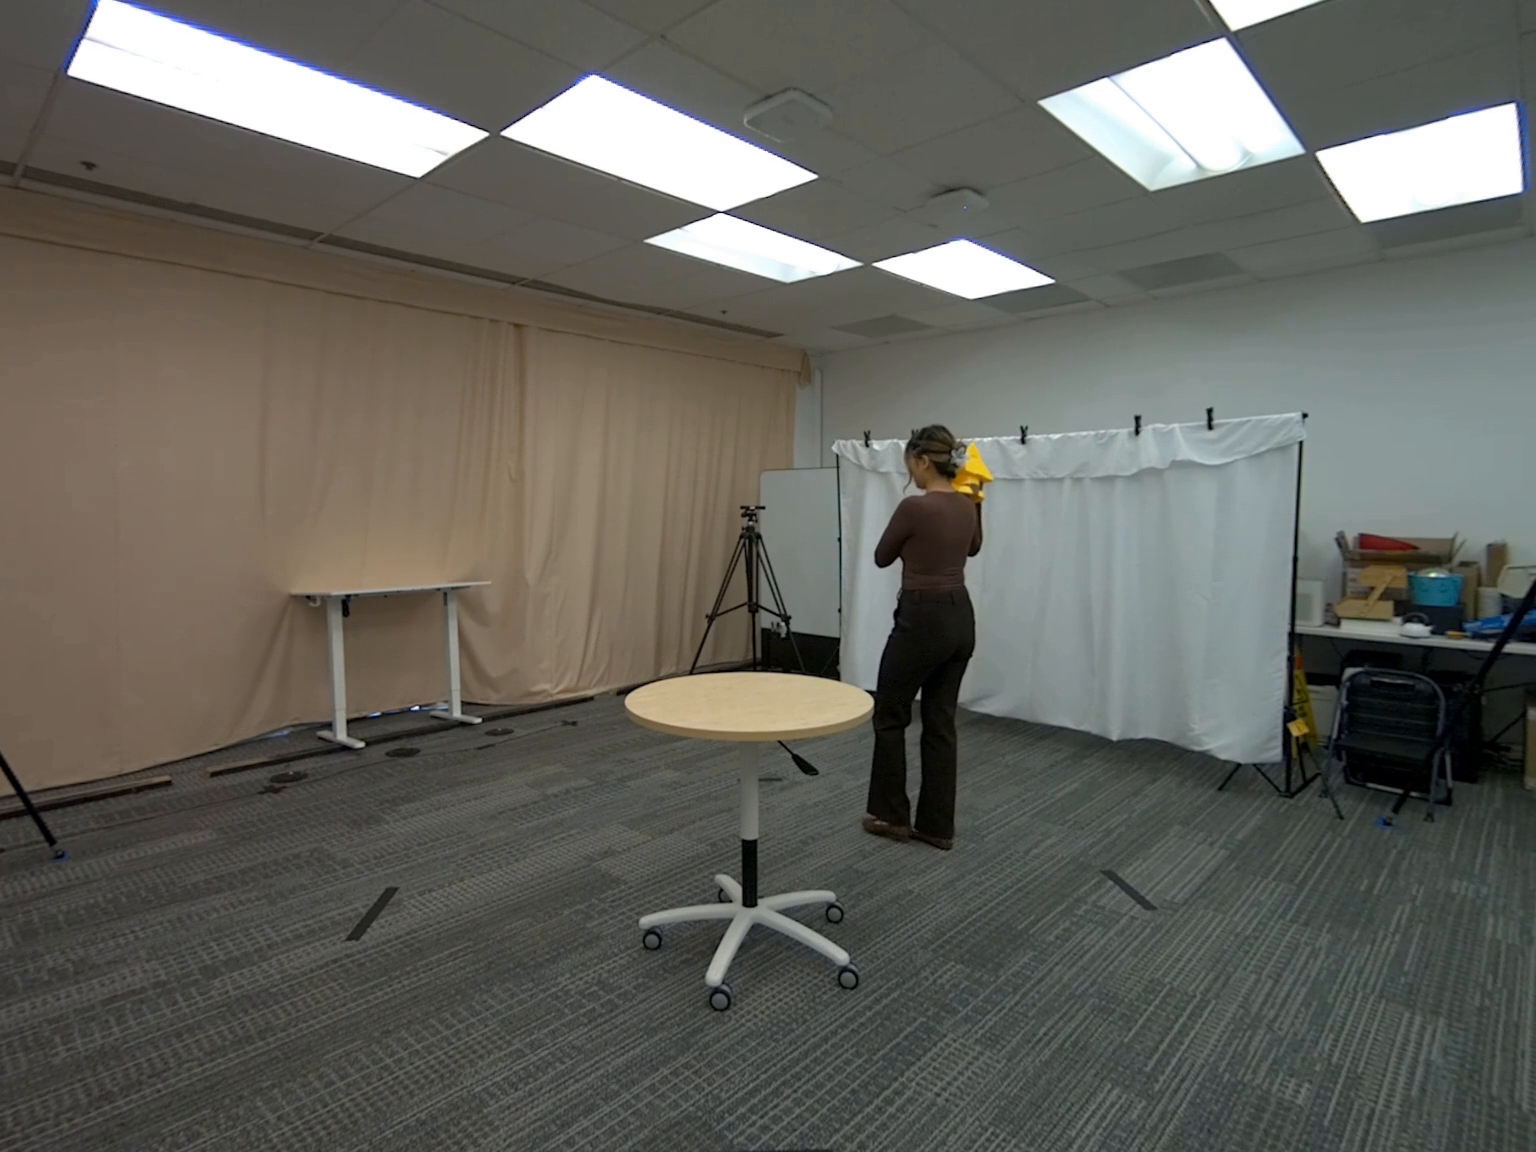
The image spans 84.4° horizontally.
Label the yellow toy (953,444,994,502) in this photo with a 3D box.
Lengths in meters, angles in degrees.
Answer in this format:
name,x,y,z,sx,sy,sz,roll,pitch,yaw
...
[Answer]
name,x,y,z,sx,sy,sz,roll,pitch,yaw
yellow toy,0.806,-0.433,3.504,0.198,0.232,0.198,12,-15,-42
